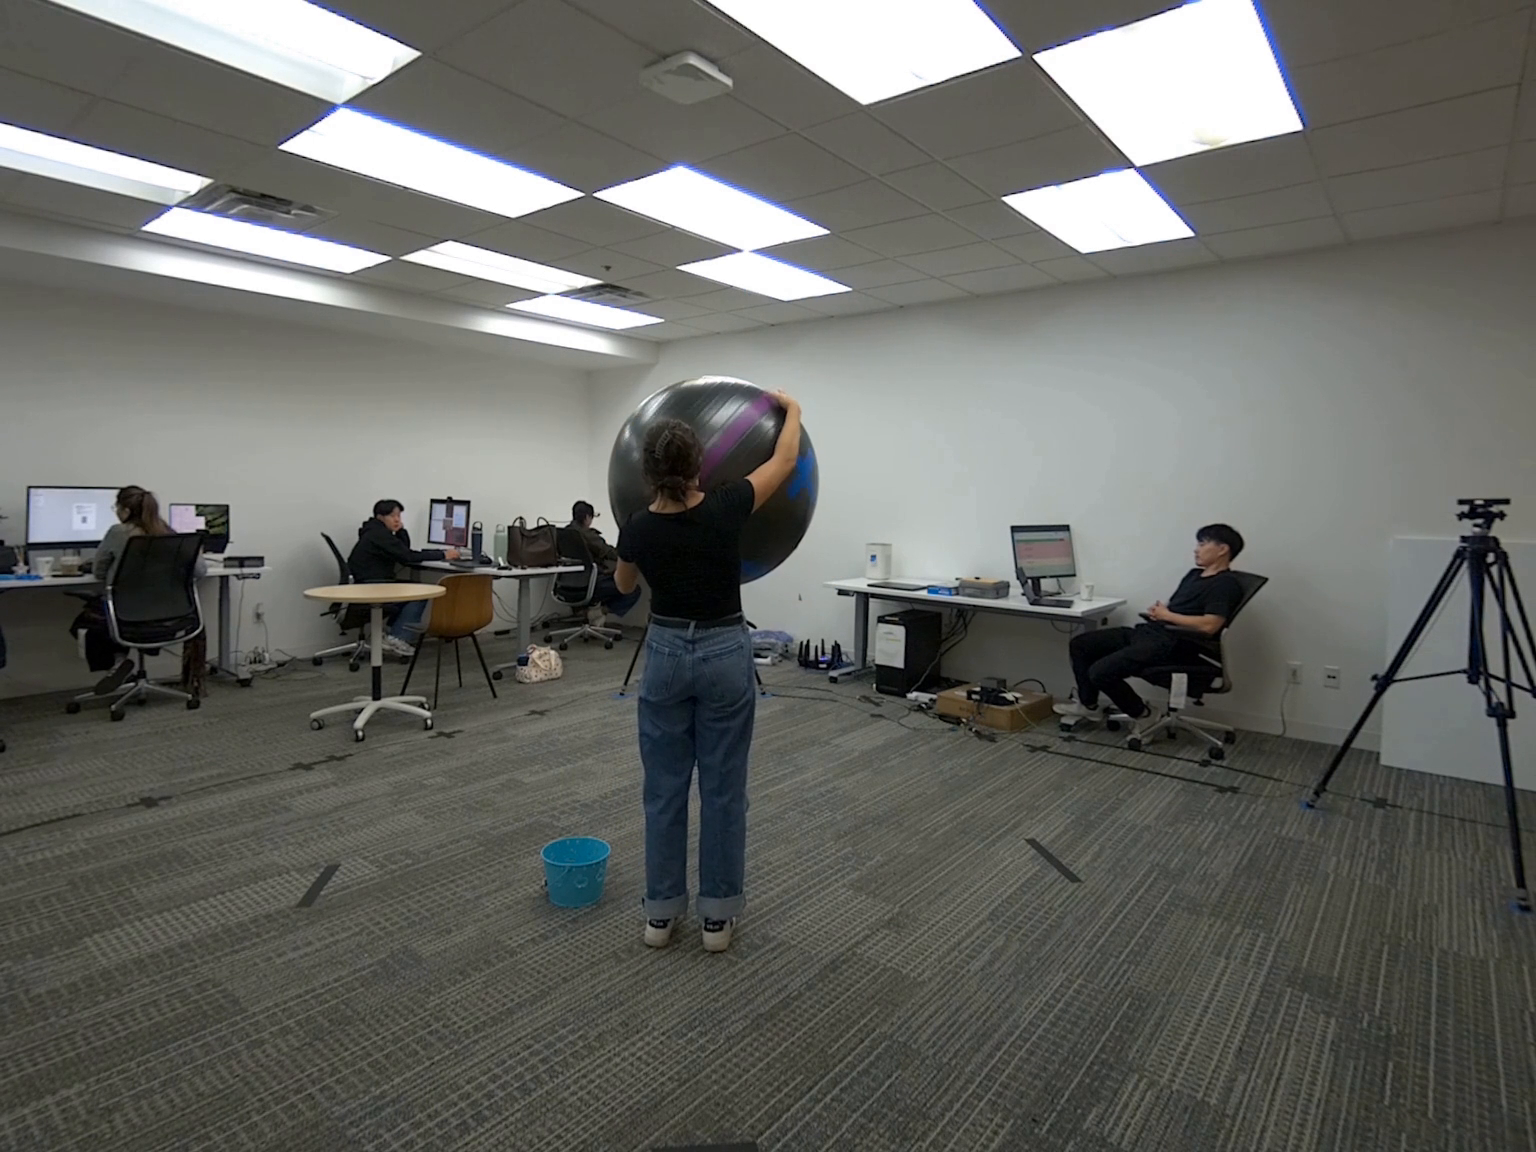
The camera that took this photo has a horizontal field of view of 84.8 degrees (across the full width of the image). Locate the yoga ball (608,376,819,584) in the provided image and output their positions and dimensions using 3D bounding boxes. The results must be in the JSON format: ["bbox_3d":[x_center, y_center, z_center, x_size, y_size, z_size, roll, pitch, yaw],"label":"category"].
[{"bbox_3d":[-0.208,-0.333,3.070,0.757,0.755,0.762,1,4,-2],"label":"yoga ball"}]
